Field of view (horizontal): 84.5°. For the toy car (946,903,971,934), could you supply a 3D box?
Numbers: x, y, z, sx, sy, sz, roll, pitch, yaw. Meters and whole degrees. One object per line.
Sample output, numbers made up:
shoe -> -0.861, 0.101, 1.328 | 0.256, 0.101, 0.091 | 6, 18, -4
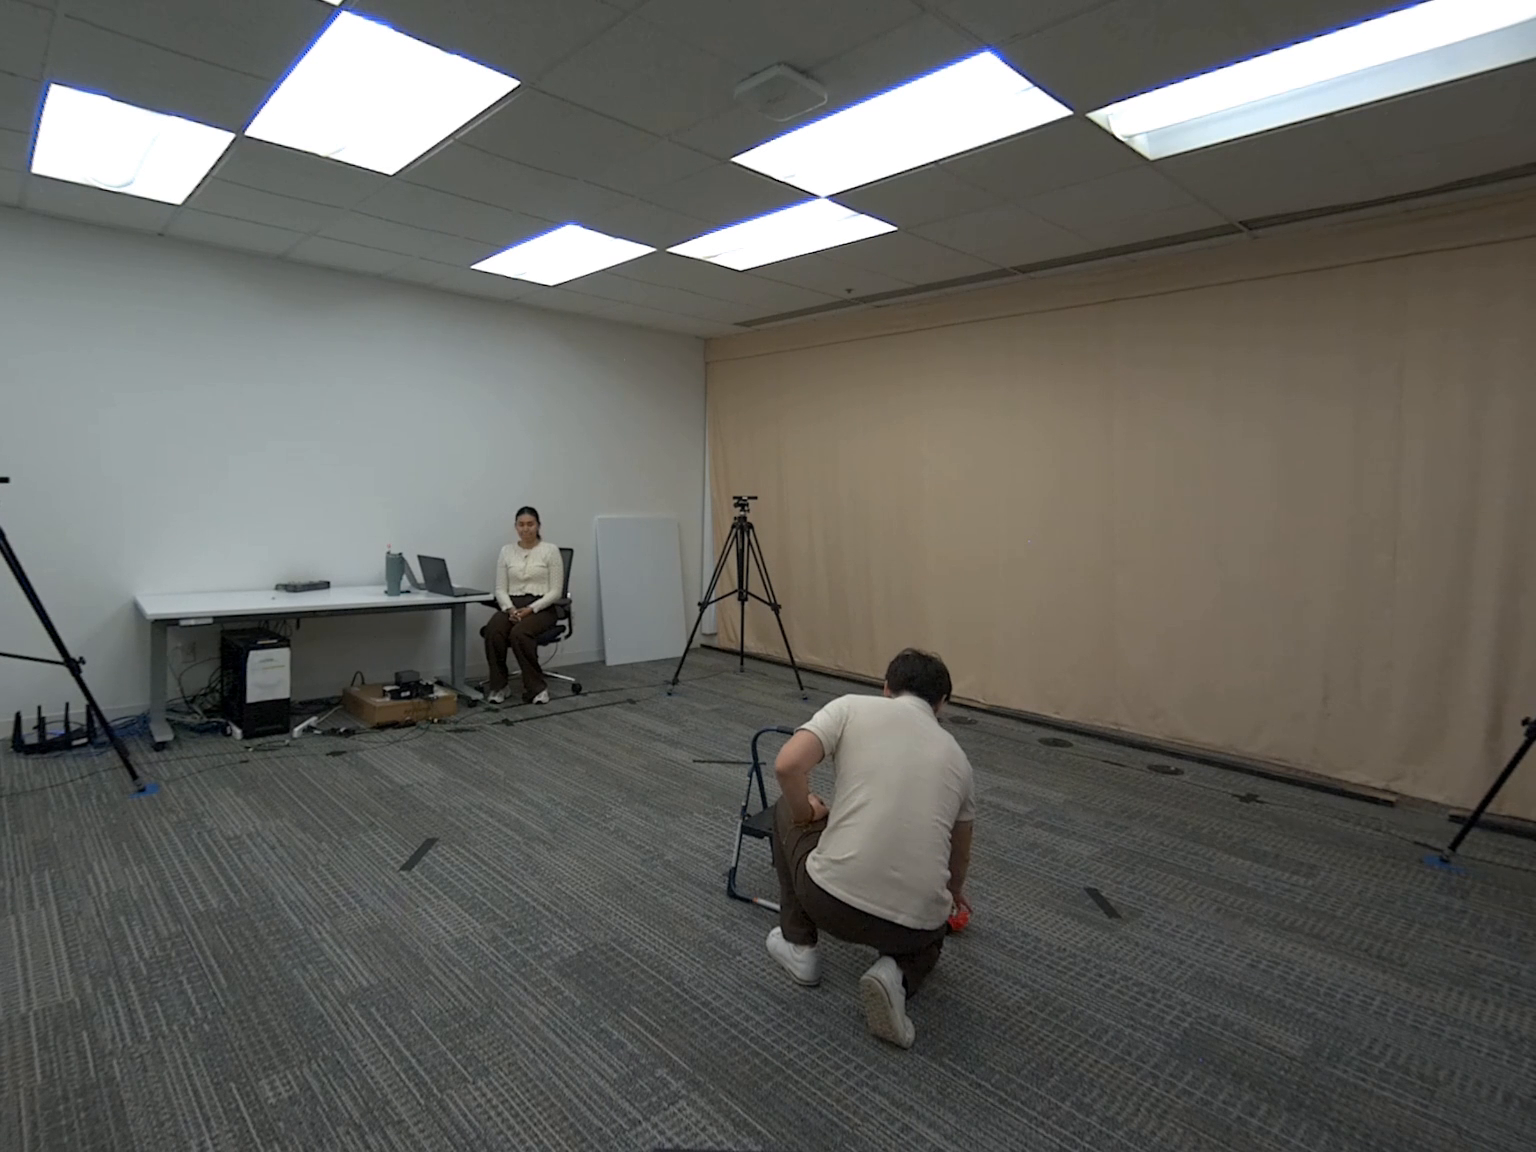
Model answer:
toy car -> 0.529, 1.130, 2.758 | 0.258, 0.083, 0.128 | -7, -2, 21
